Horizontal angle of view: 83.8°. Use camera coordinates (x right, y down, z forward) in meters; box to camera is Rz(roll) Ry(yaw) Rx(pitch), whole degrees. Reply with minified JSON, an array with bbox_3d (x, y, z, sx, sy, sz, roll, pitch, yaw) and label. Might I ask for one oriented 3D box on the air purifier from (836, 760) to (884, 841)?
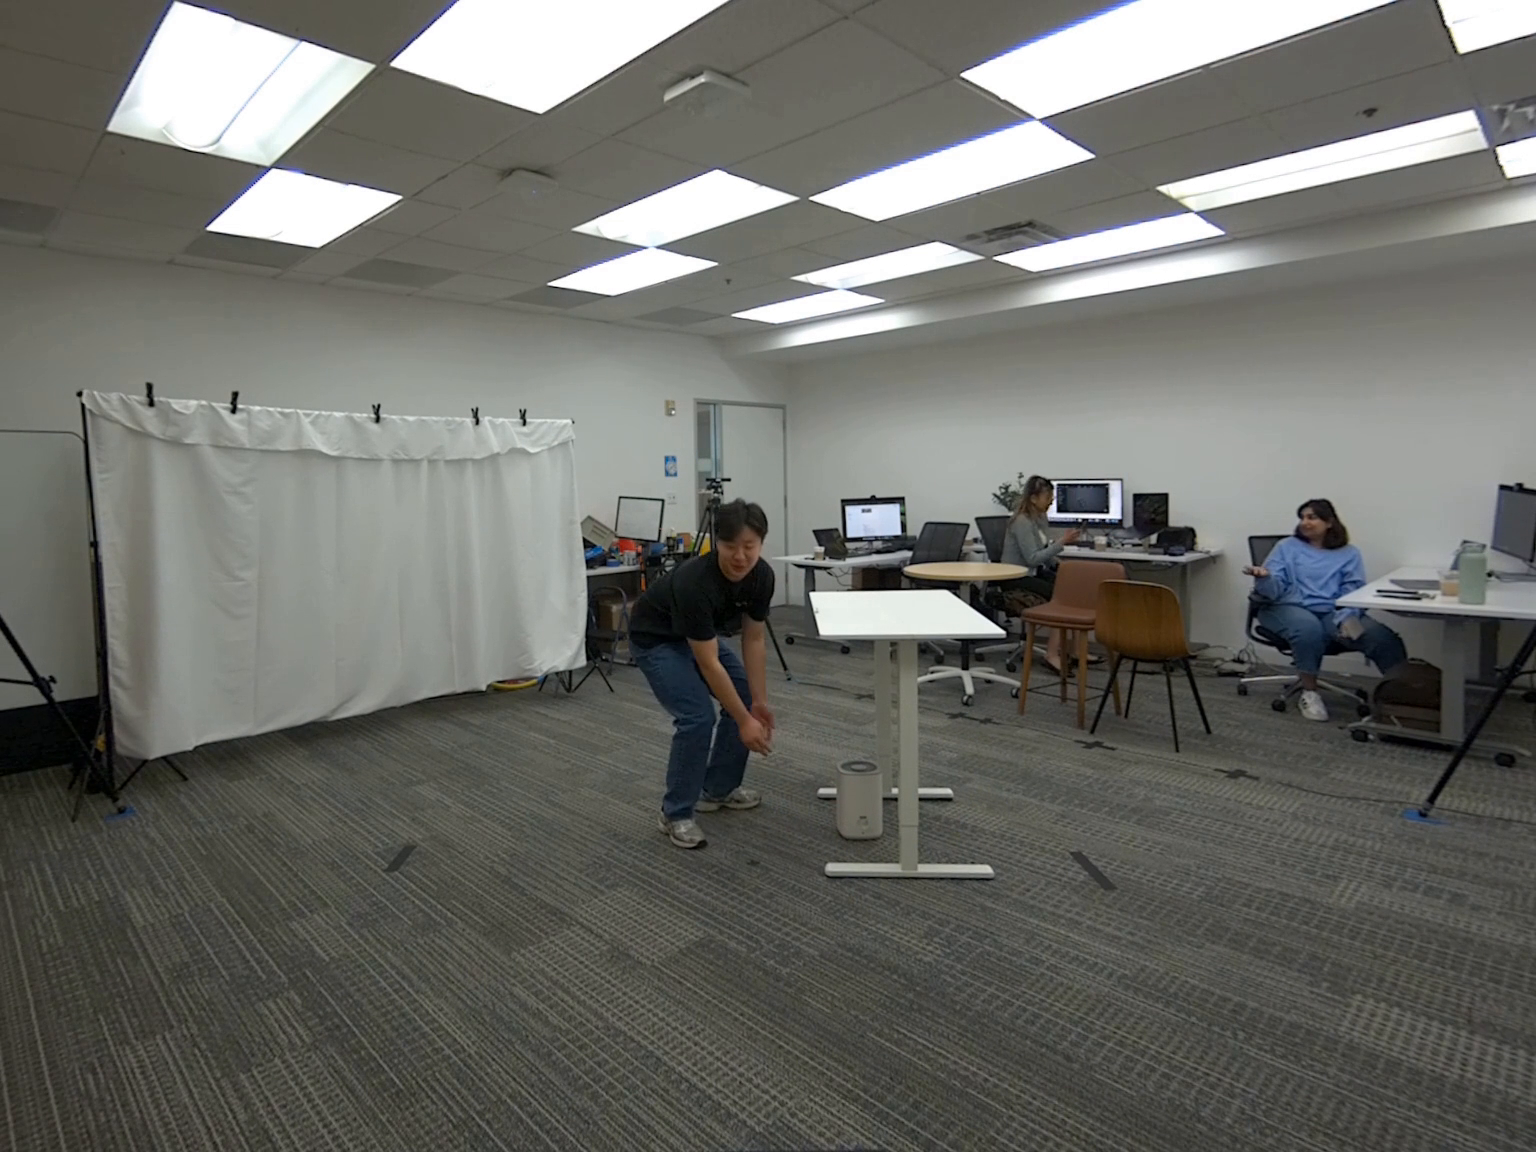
[{"bbox_3d":[0.351,0.868,3.341,0.171,0.264,0.172,-1,4,-2],"label":"air purifier"}]
